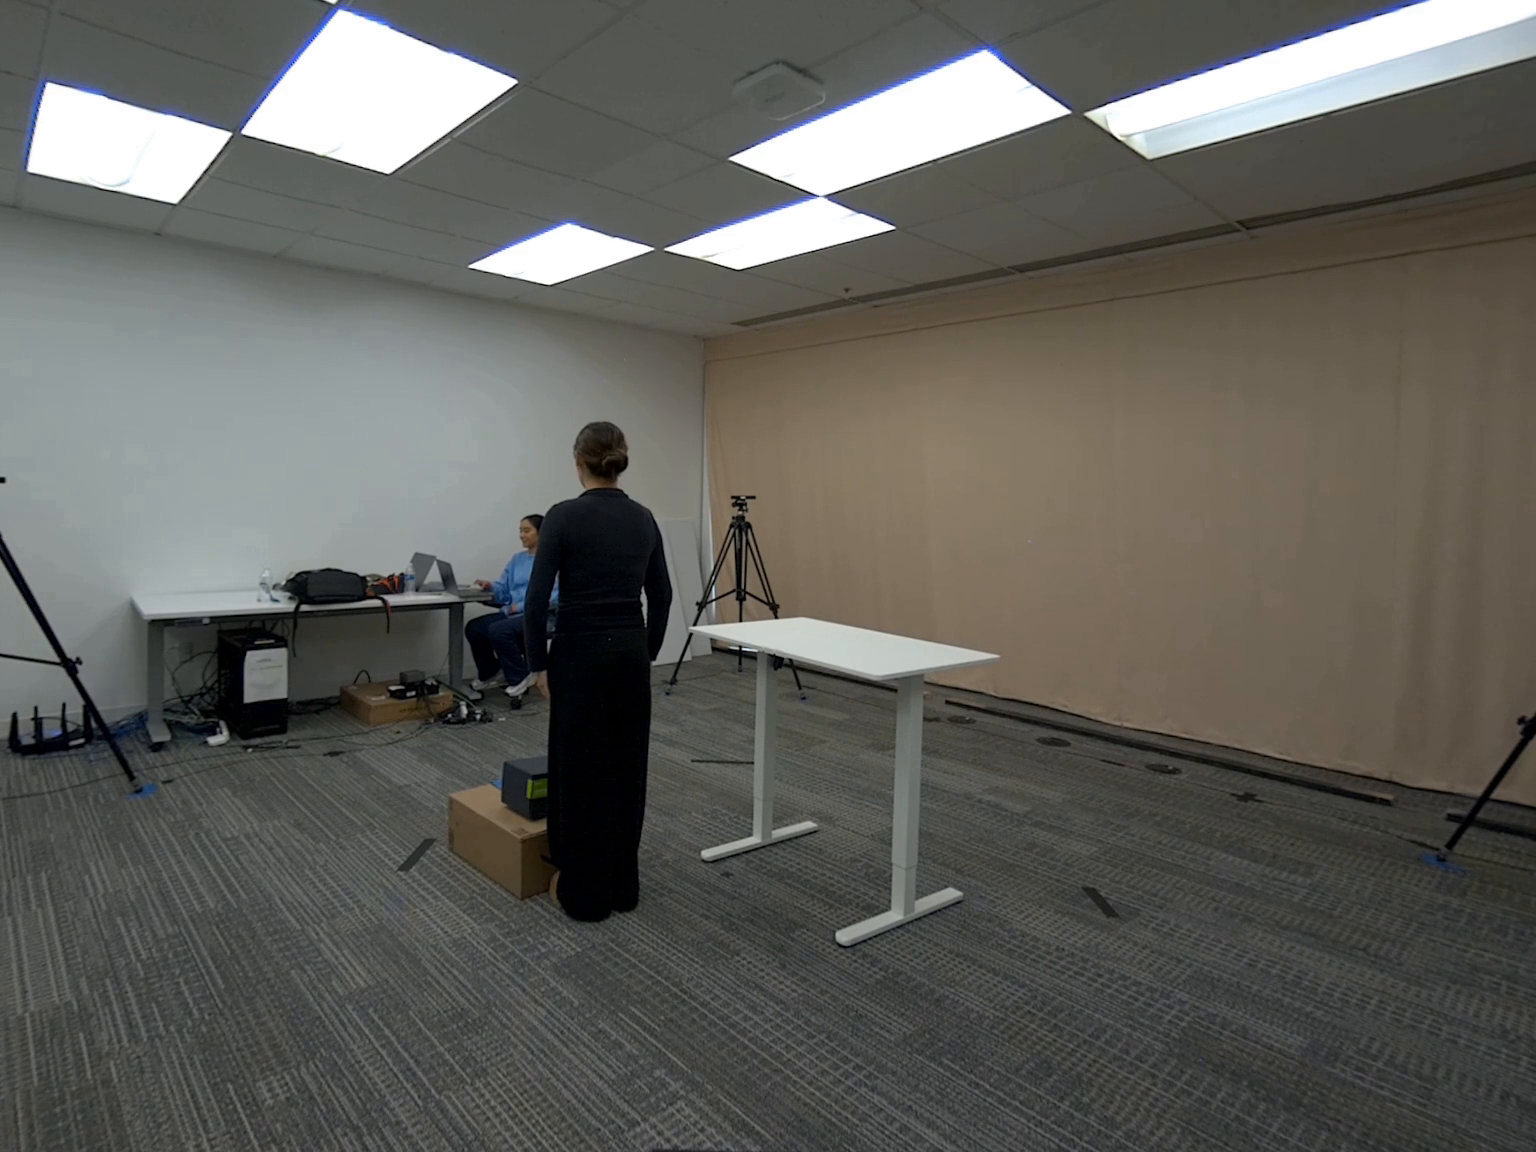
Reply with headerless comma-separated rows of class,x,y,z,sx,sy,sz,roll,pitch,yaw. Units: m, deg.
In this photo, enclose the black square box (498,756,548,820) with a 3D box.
black square box,-0.840,0.777,3.142,0.222,0.156,0.222,3,2,-45
